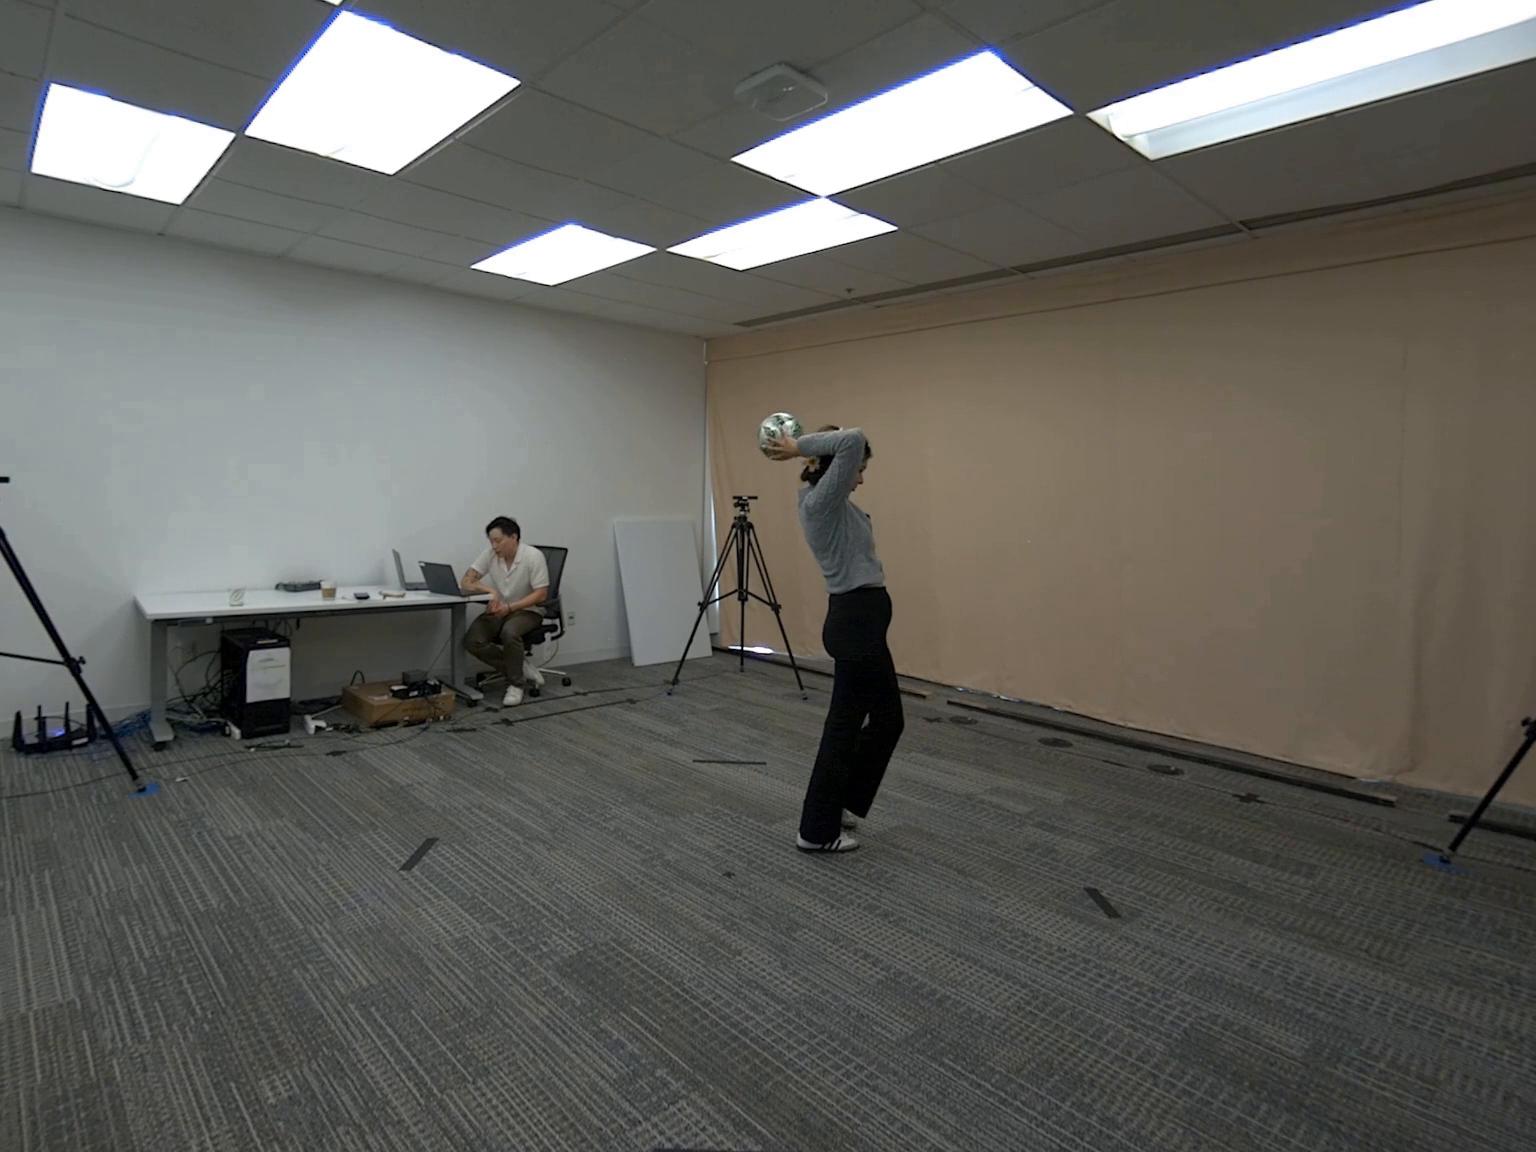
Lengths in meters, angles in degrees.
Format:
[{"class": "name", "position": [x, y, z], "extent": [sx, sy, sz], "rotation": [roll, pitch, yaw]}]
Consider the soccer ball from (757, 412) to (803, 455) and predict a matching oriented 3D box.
[{"class": "soccer ball", "position": [0.045, -0.548, 3.285], "extent": [0.187, 0.187, 0.188], "rotation": [1, 4, -1]}]
